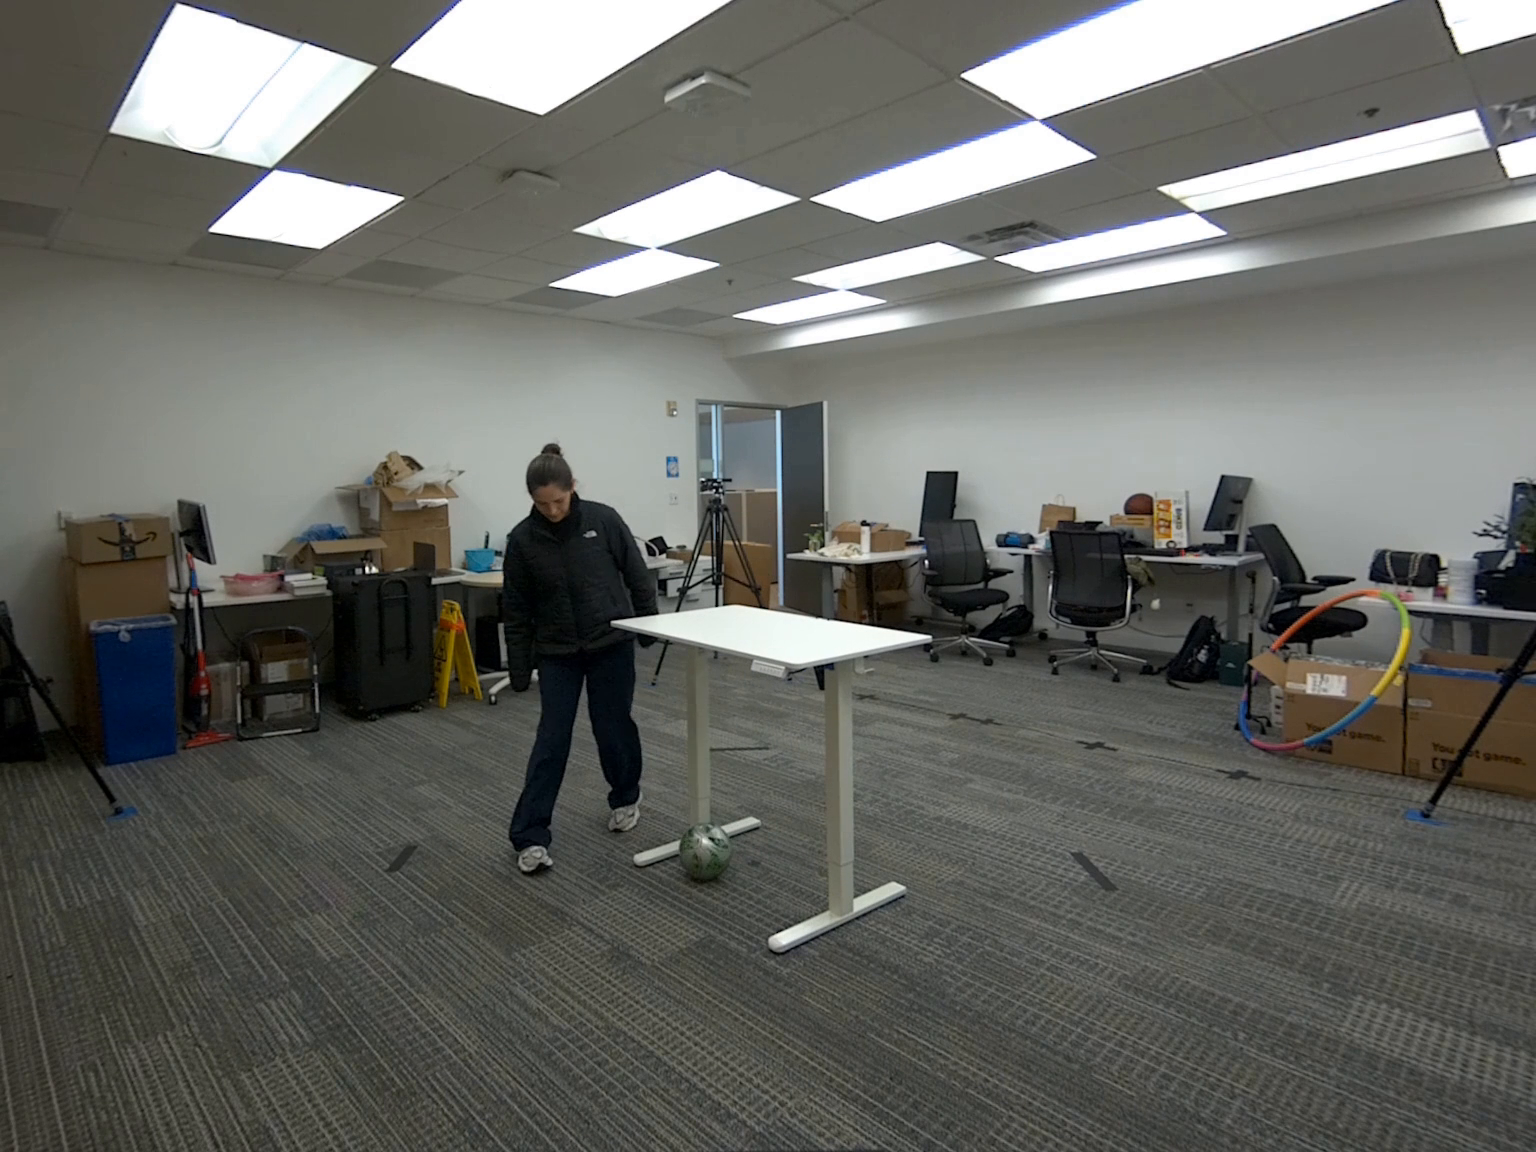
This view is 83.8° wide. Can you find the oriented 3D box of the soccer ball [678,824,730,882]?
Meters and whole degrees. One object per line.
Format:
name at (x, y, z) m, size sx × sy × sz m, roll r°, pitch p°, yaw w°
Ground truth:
soccer ball at (-0.215, 0.968, 2.999) m, size 0.187 × 0.187 × 0.188 m, roll -1°, pitch 5°, yaw -2°
